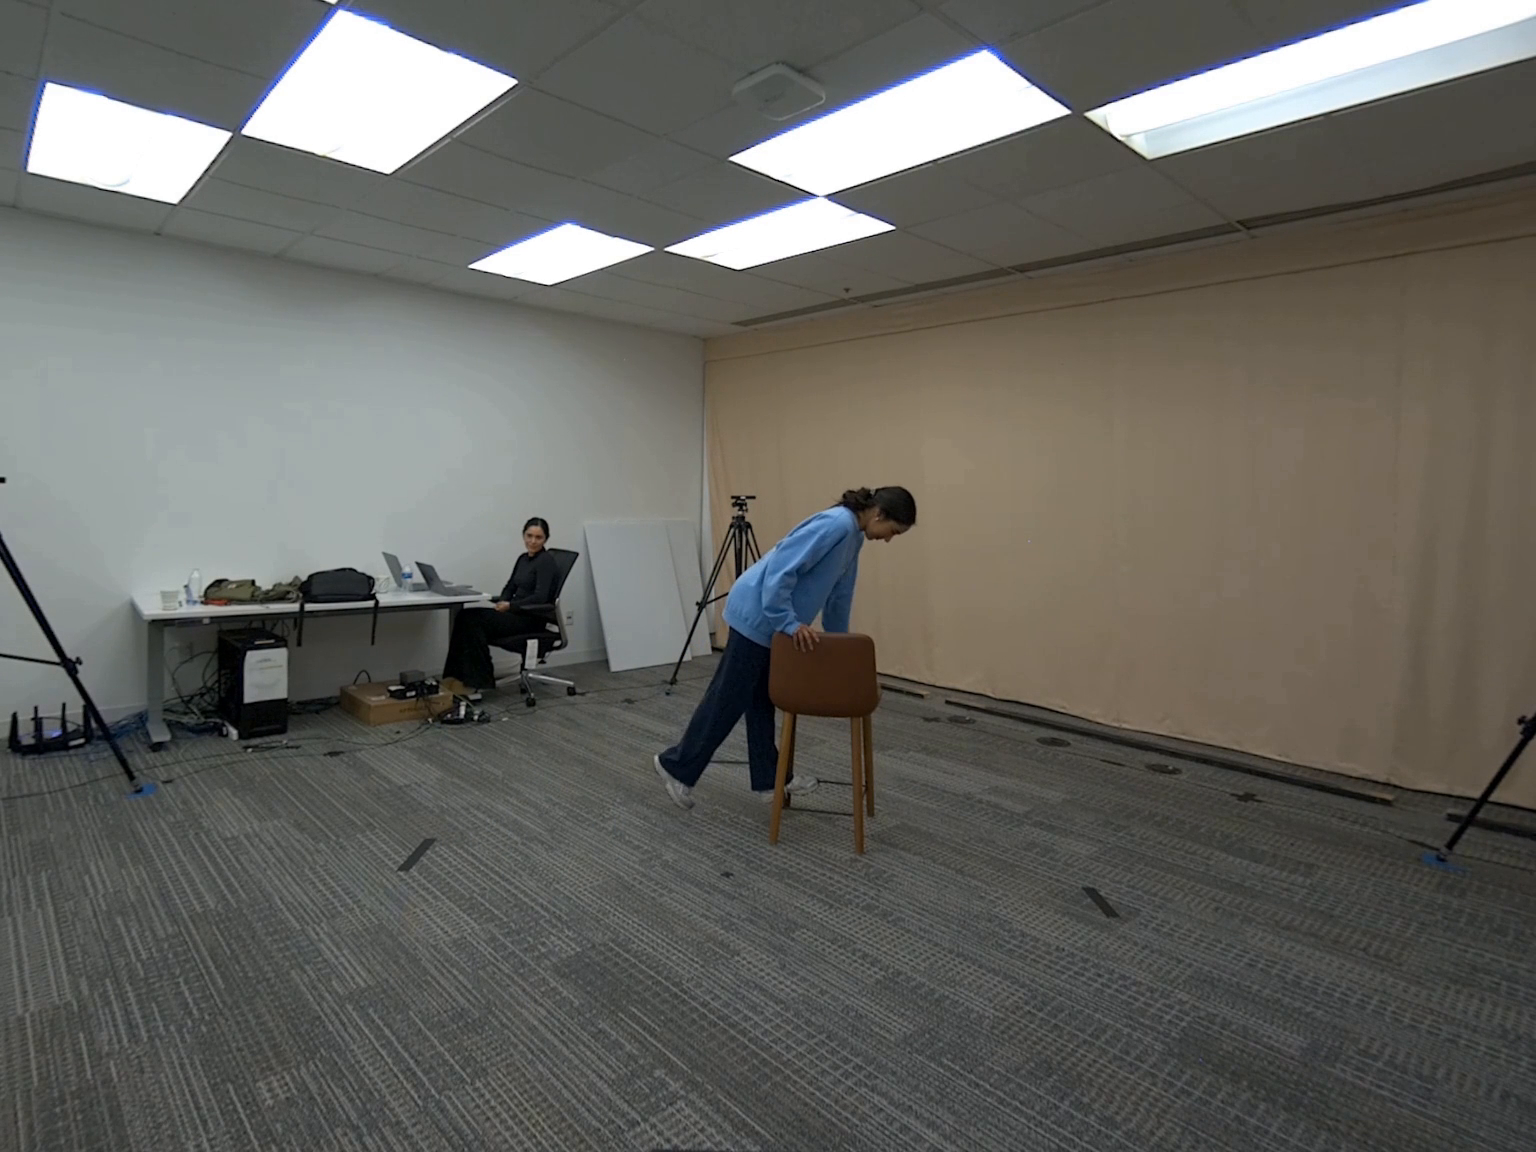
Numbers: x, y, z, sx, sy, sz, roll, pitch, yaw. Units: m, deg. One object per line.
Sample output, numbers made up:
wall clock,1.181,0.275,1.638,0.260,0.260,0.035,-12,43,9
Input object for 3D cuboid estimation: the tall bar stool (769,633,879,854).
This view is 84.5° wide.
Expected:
tall bar stool,0.236,0.635,3.541,0.461,0.886,0.464,2,5,12
